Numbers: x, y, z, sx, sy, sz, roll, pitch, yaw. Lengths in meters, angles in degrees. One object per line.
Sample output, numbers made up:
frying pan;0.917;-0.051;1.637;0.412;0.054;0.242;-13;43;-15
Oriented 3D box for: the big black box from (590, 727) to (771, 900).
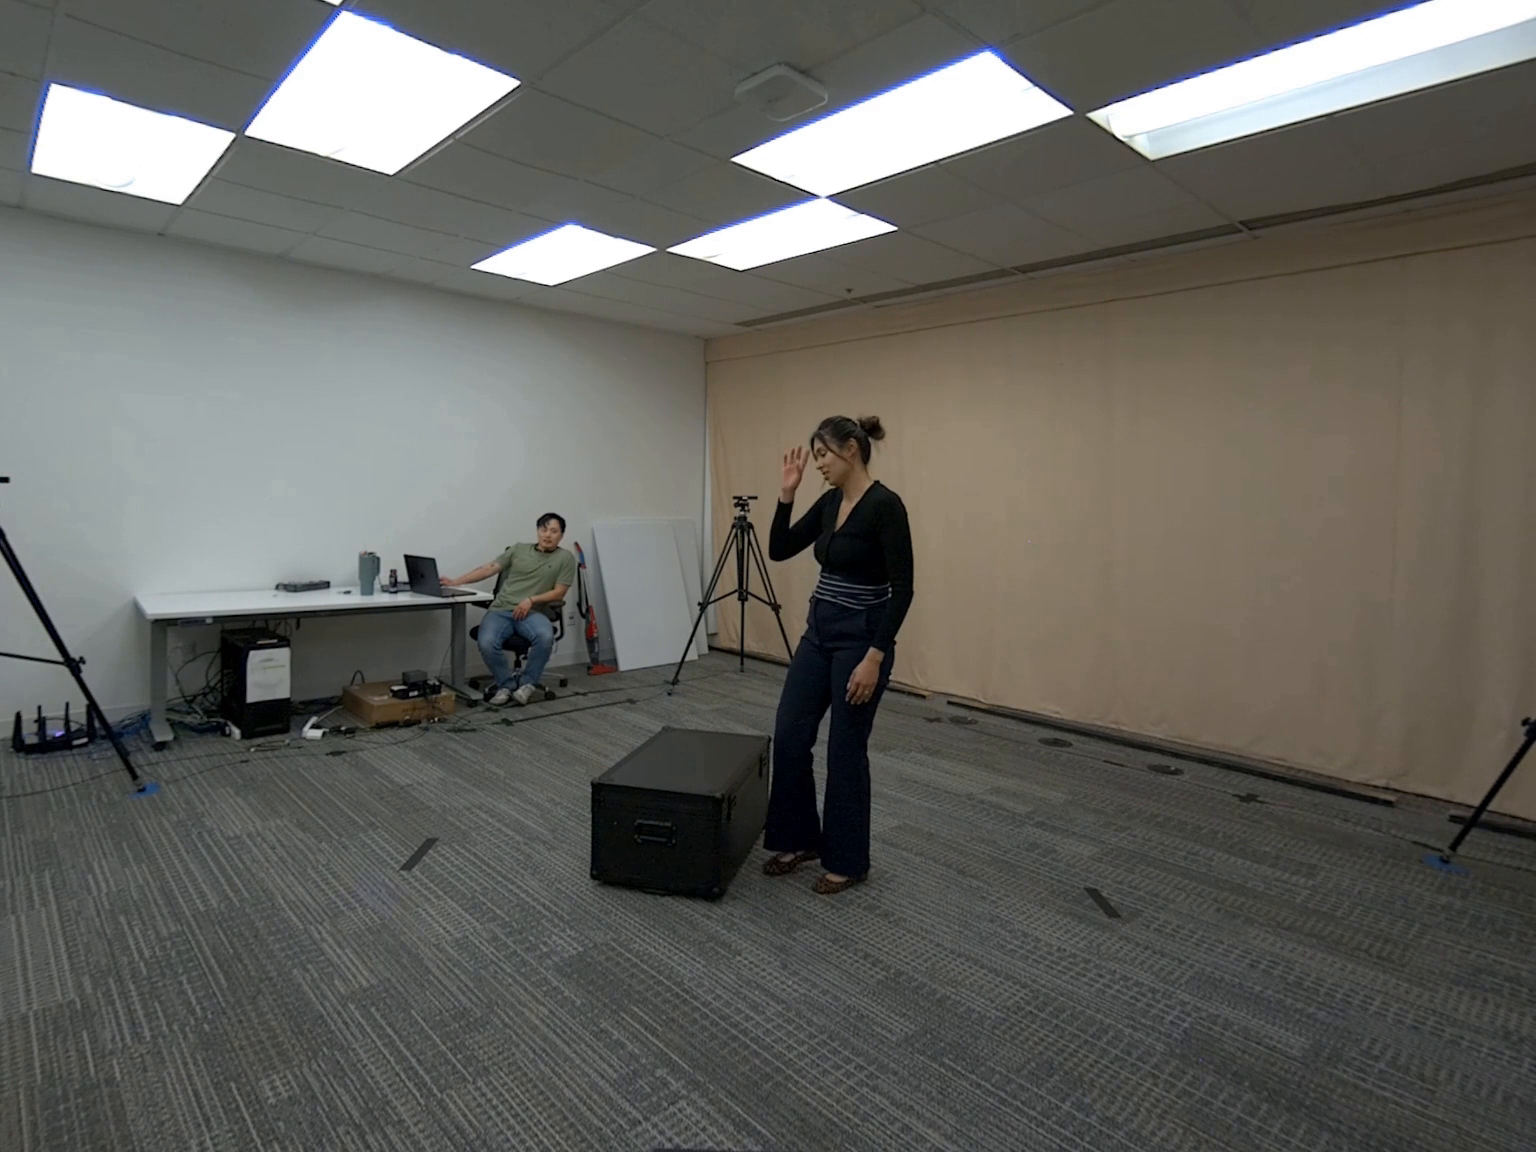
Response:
big black box;-0.302;0.883;3.319;0.527;0.395;0.854;2;5;13
